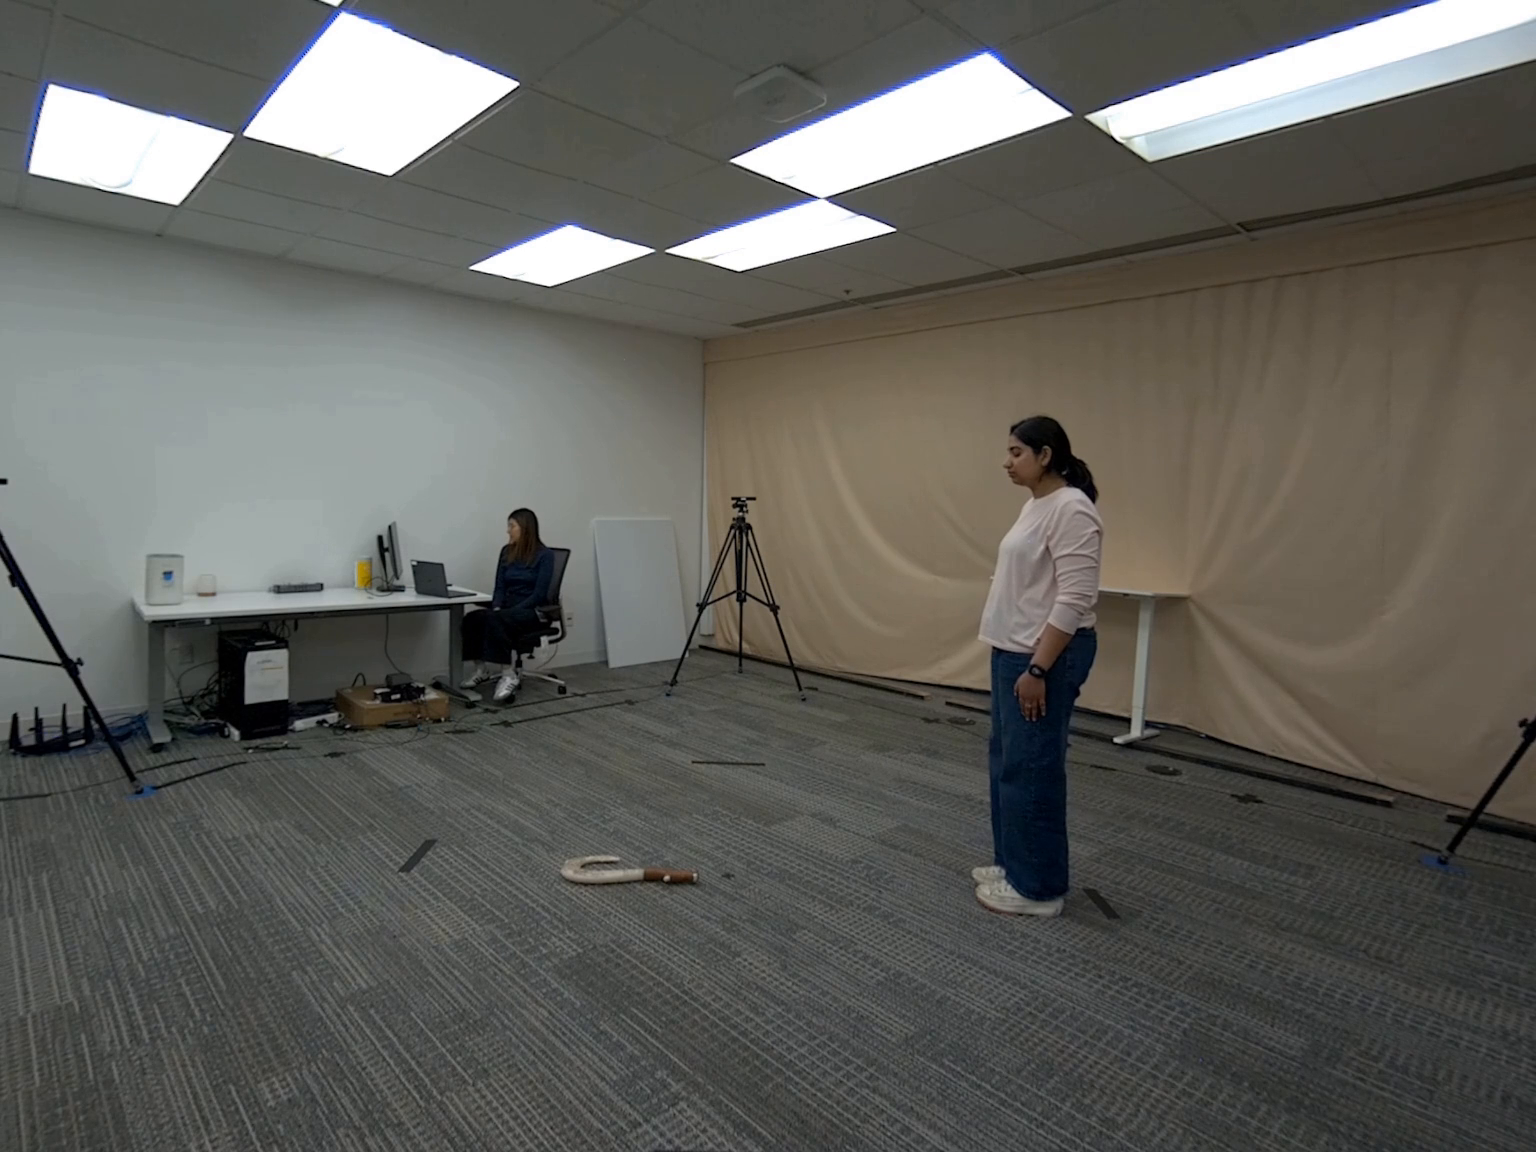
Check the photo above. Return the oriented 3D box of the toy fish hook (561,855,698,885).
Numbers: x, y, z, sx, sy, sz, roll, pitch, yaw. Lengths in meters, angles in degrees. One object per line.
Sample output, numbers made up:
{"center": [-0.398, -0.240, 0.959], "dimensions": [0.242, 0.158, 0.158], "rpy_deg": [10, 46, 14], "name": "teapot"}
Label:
{"center": [-0.507, 1.069, 3.099], "dimensions": [0.507, 0.048, 0.225], "rpy_deg": [1, 7, 1], "name": "toy fish hook"}
